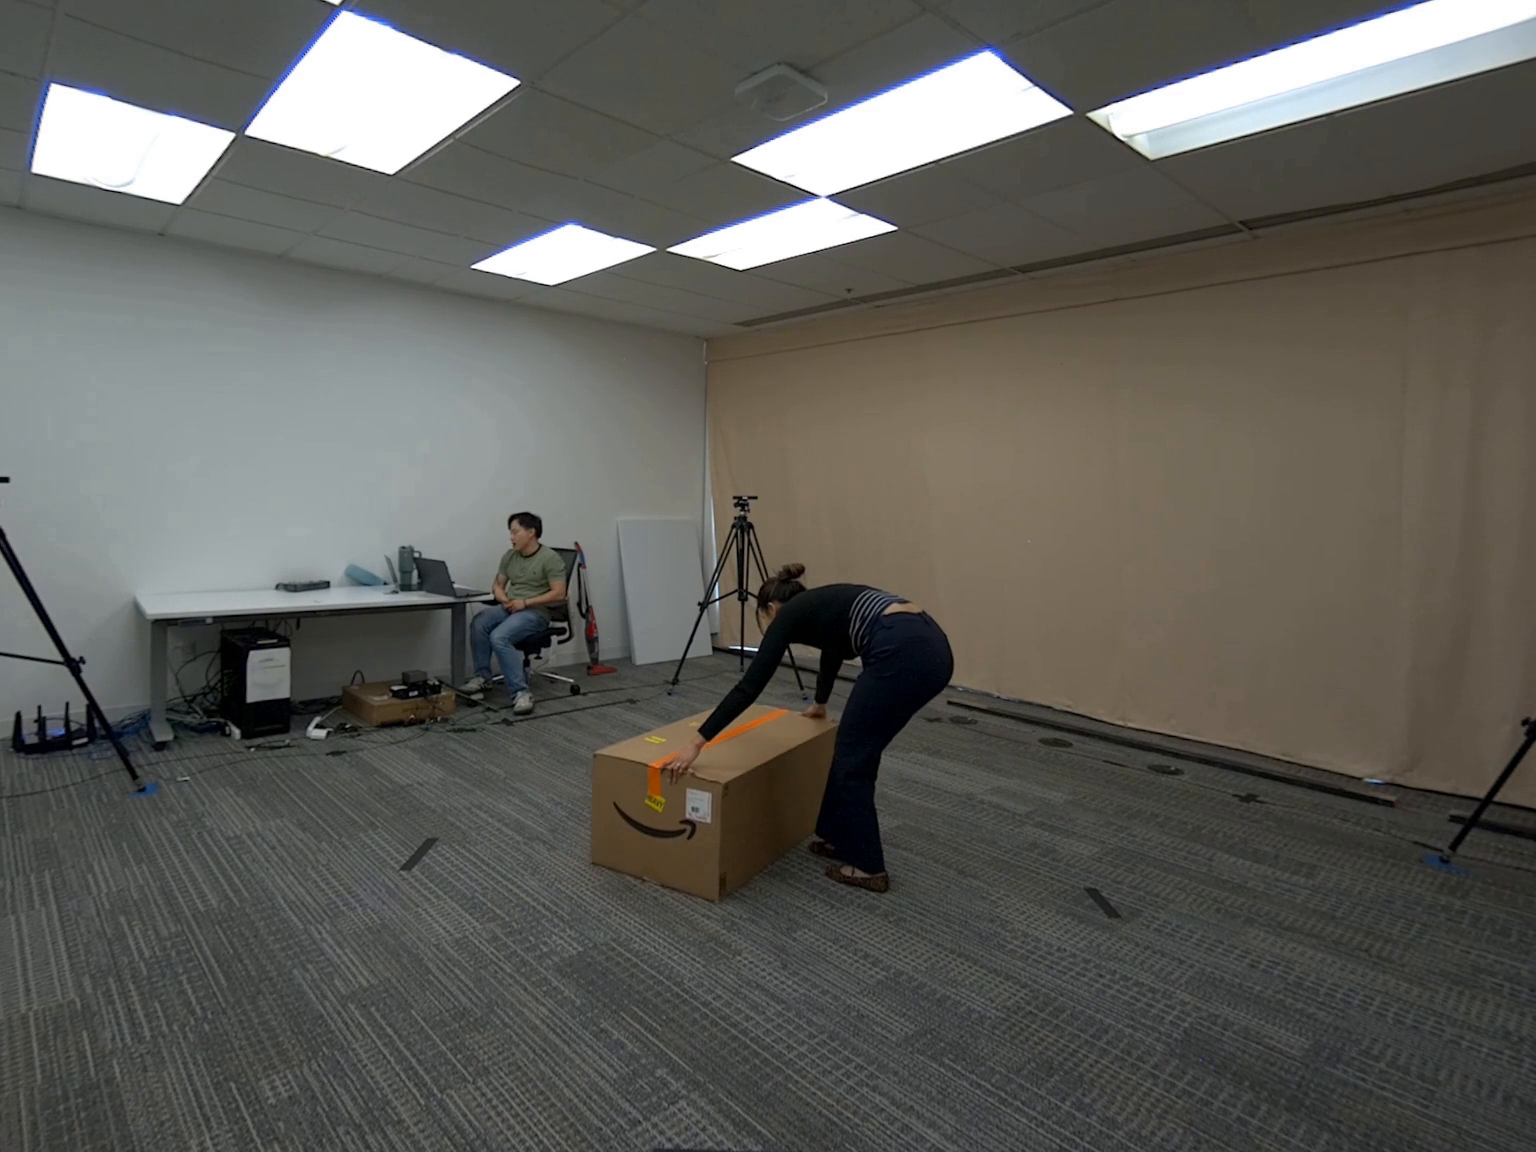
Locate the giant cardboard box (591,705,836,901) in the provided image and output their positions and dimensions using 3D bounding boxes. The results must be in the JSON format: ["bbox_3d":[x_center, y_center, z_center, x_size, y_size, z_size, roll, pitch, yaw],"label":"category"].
[{"bbox_3d":[-0.169,0.856,3.447,0.590,0.425,1.006,4,6,29],"label":"giant cardboard box"}]
